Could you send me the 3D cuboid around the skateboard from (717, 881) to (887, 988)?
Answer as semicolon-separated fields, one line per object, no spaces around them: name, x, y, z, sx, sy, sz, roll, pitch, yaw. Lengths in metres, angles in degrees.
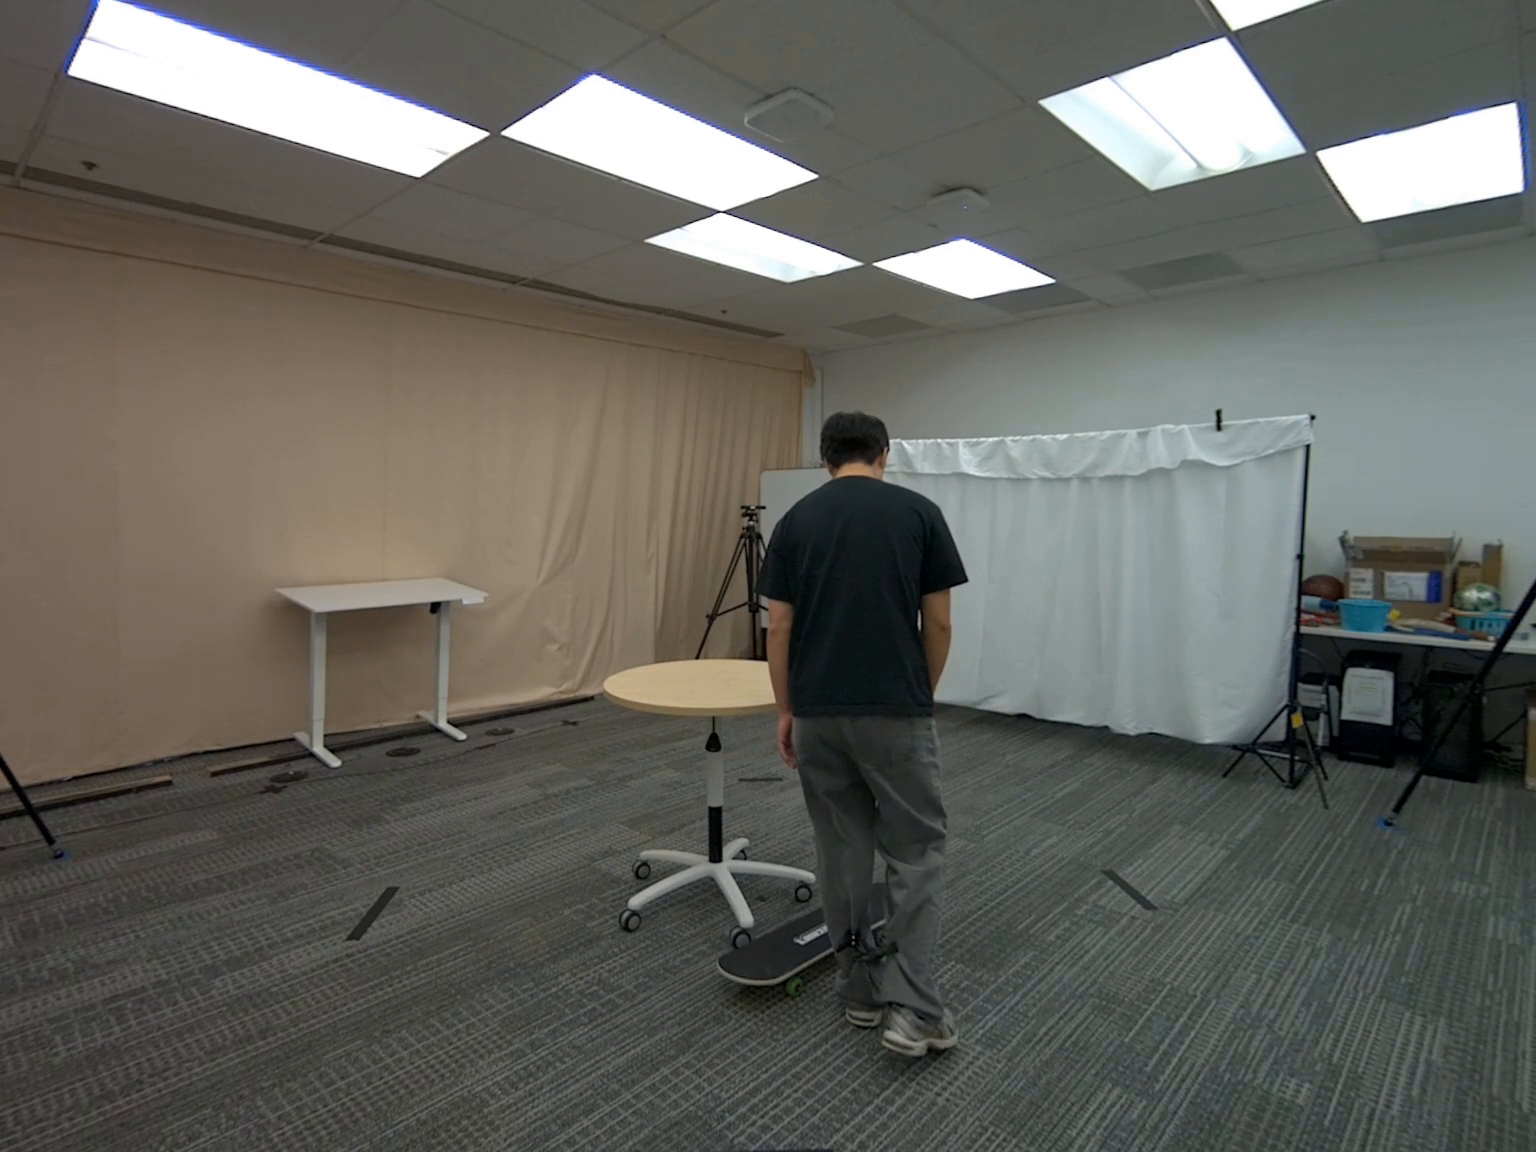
skateboard;0.157;1.127;2.577;0.761;0.110;0.200;-5;5;-44
